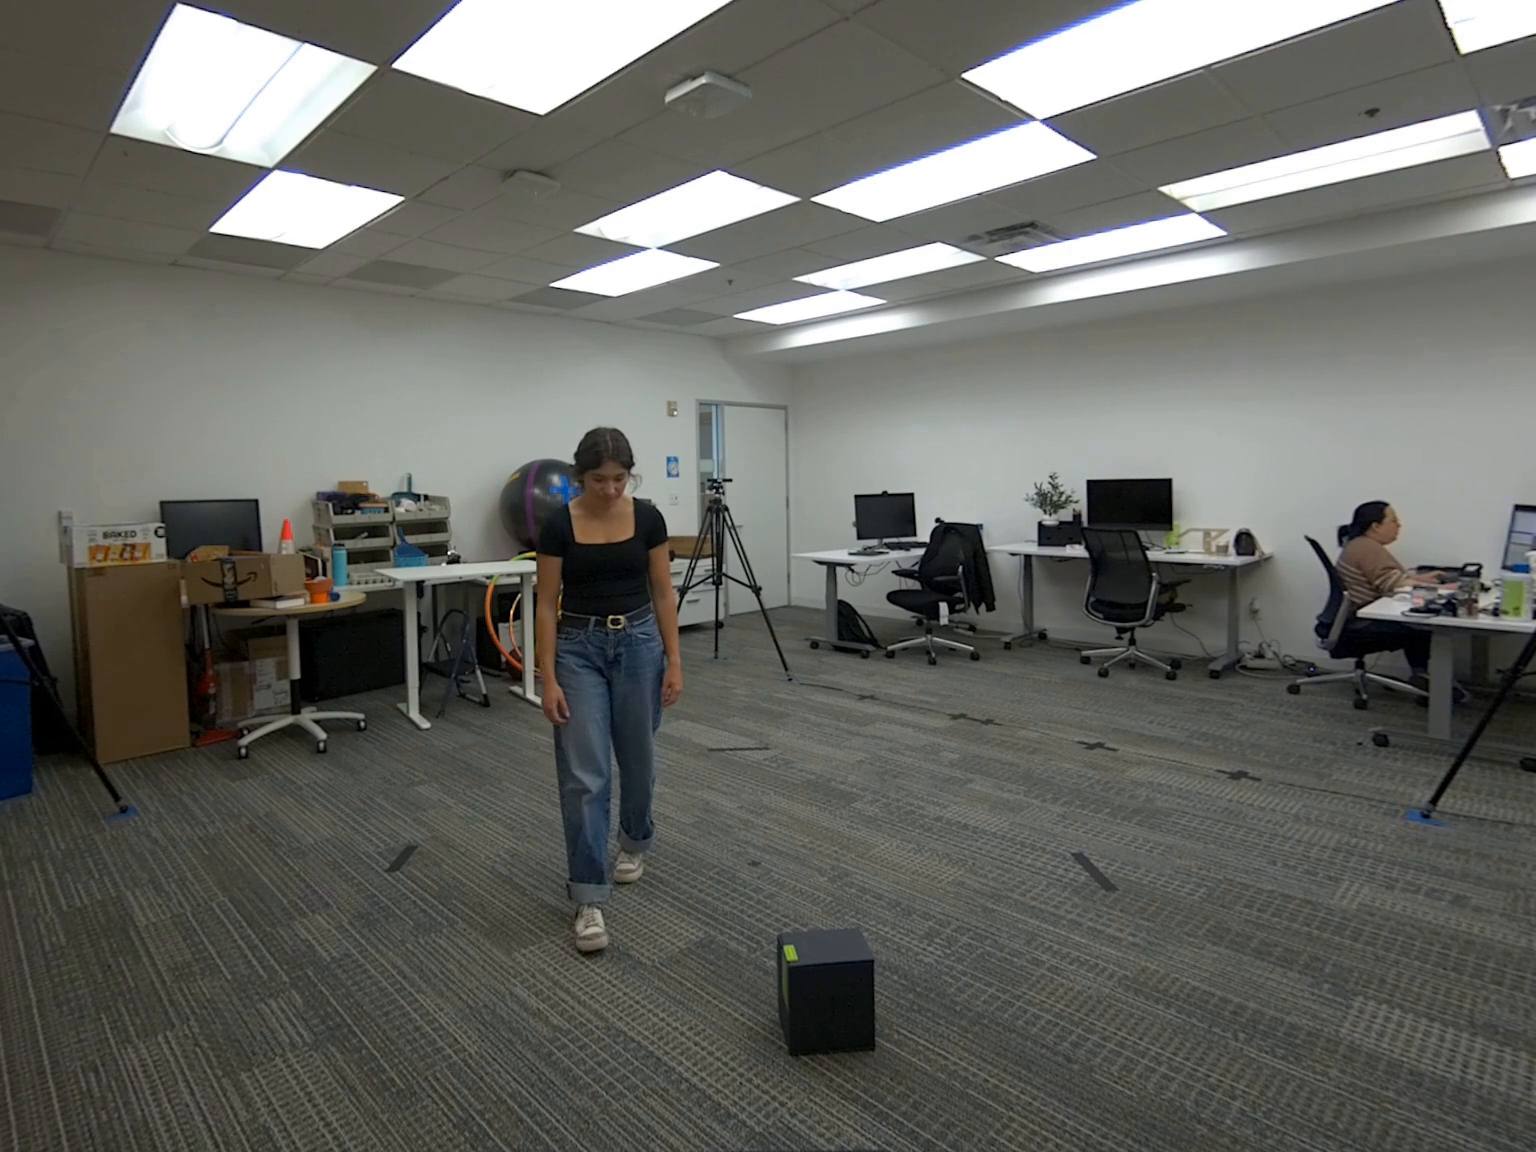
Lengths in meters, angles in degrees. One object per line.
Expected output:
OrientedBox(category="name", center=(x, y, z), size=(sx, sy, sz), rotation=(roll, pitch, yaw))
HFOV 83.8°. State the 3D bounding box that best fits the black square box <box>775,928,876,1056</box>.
OrientedBox(category="black square box", center=(0.153, 1.034, 2.145), size=(0.216, 0.227, 0.157), rotation=(-2, 4, -6))
